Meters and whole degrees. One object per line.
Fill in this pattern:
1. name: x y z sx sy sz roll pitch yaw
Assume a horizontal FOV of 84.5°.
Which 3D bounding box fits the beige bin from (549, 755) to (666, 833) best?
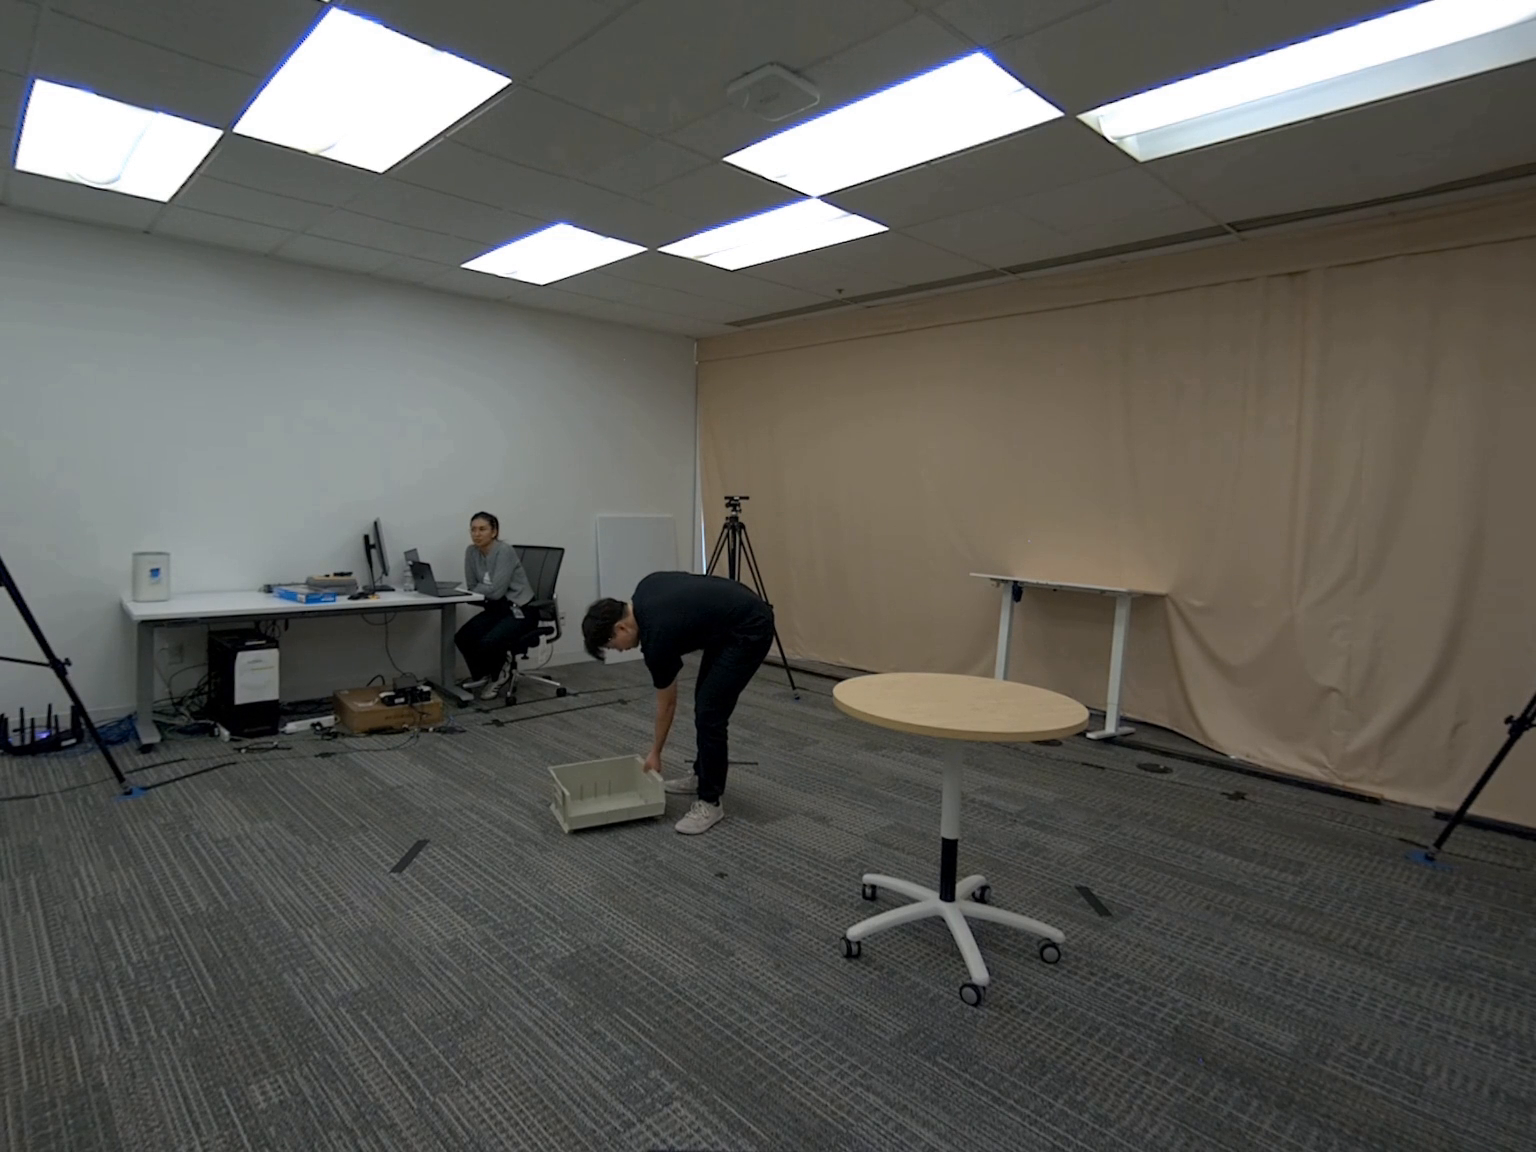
1. beige bin: -0.713 0.944 3.650 0.415 0.188 0.385 -5 7 -25
